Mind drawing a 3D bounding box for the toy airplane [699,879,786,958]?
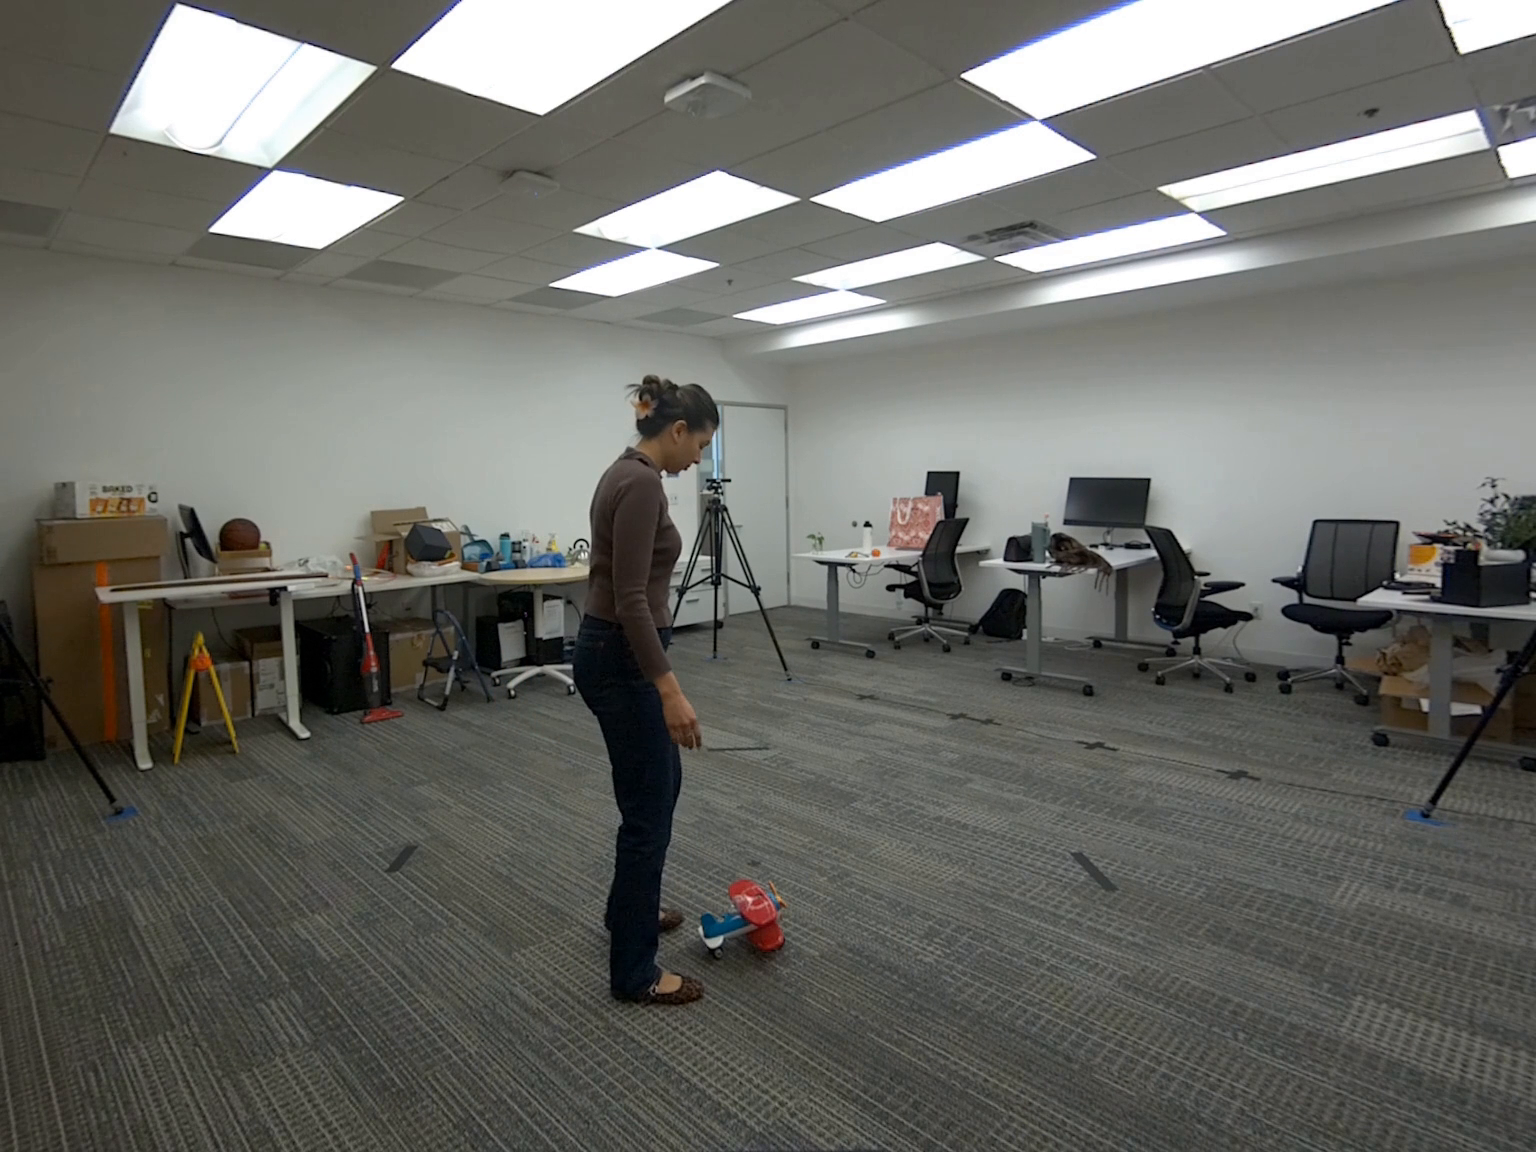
[{"bbox_3d":[-0.066,1.036,2.538,0.259,0.156,0.252,6,8,41],"label":"toy airplane"}]
